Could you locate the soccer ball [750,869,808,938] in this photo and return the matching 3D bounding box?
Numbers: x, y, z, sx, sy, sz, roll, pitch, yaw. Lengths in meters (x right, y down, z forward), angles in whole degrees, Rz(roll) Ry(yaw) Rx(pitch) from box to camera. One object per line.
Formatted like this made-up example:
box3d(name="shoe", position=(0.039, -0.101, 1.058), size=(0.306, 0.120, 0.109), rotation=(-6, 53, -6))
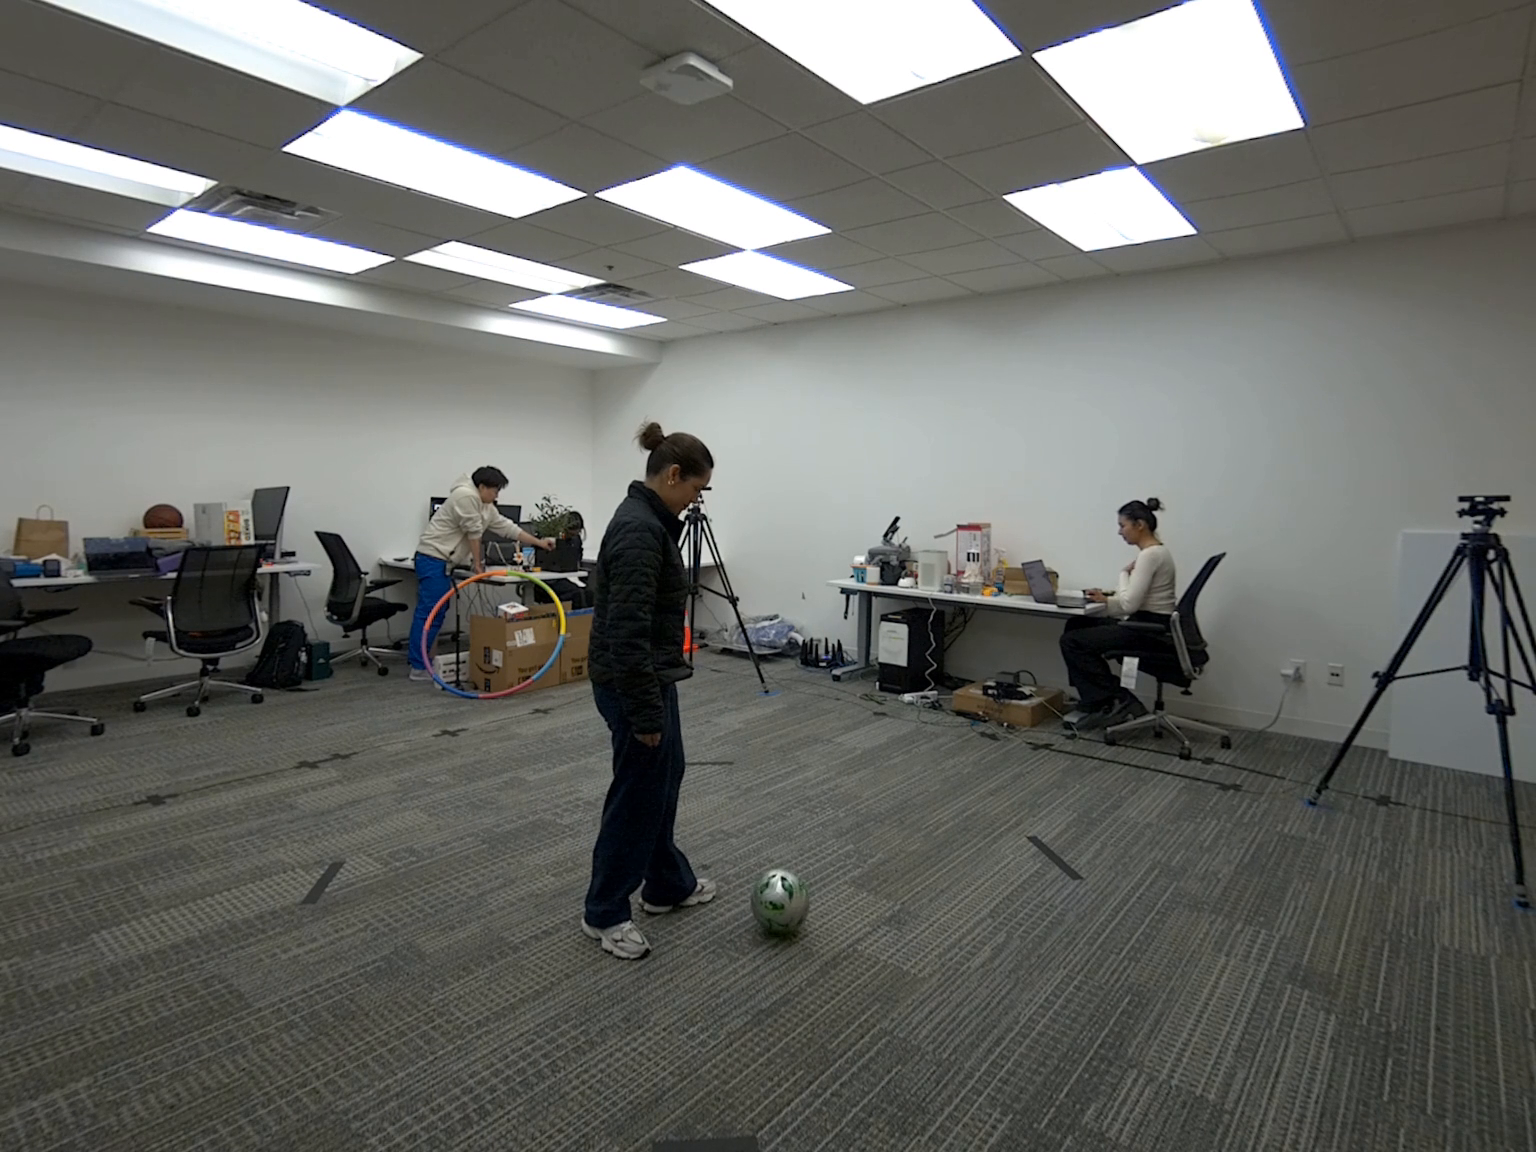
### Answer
box3d(name="soccer ball", position=(0.031, 1.021, 2.665), size=(0.187, 0.187, 0.188), rotation=(1, 4, -2))
